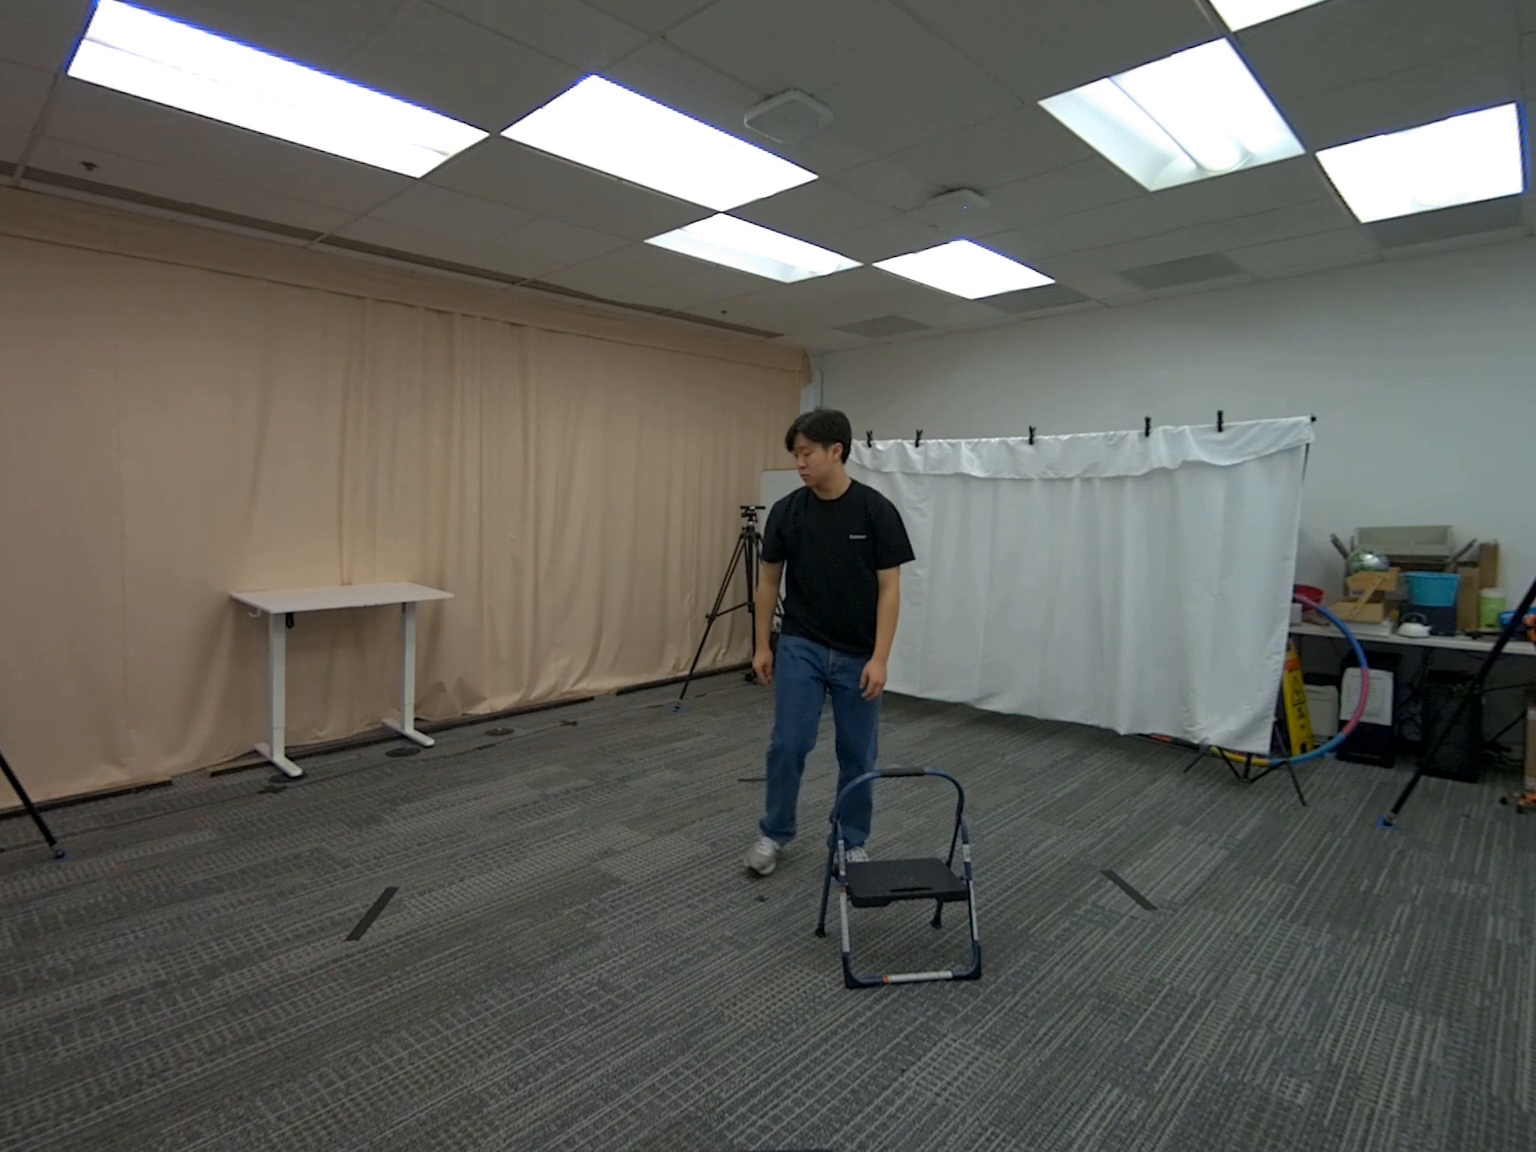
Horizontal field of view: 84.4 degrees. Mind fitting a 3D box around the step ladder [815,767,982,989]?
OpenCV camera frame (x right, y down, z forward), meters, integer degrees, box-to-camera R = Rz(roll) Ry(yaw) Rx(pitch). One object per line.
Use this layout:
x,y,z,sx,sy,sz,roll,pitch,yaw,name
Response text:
0.395,0.873,2.610,0.426,0.605,0.353,-1,3,-10,step ladder
